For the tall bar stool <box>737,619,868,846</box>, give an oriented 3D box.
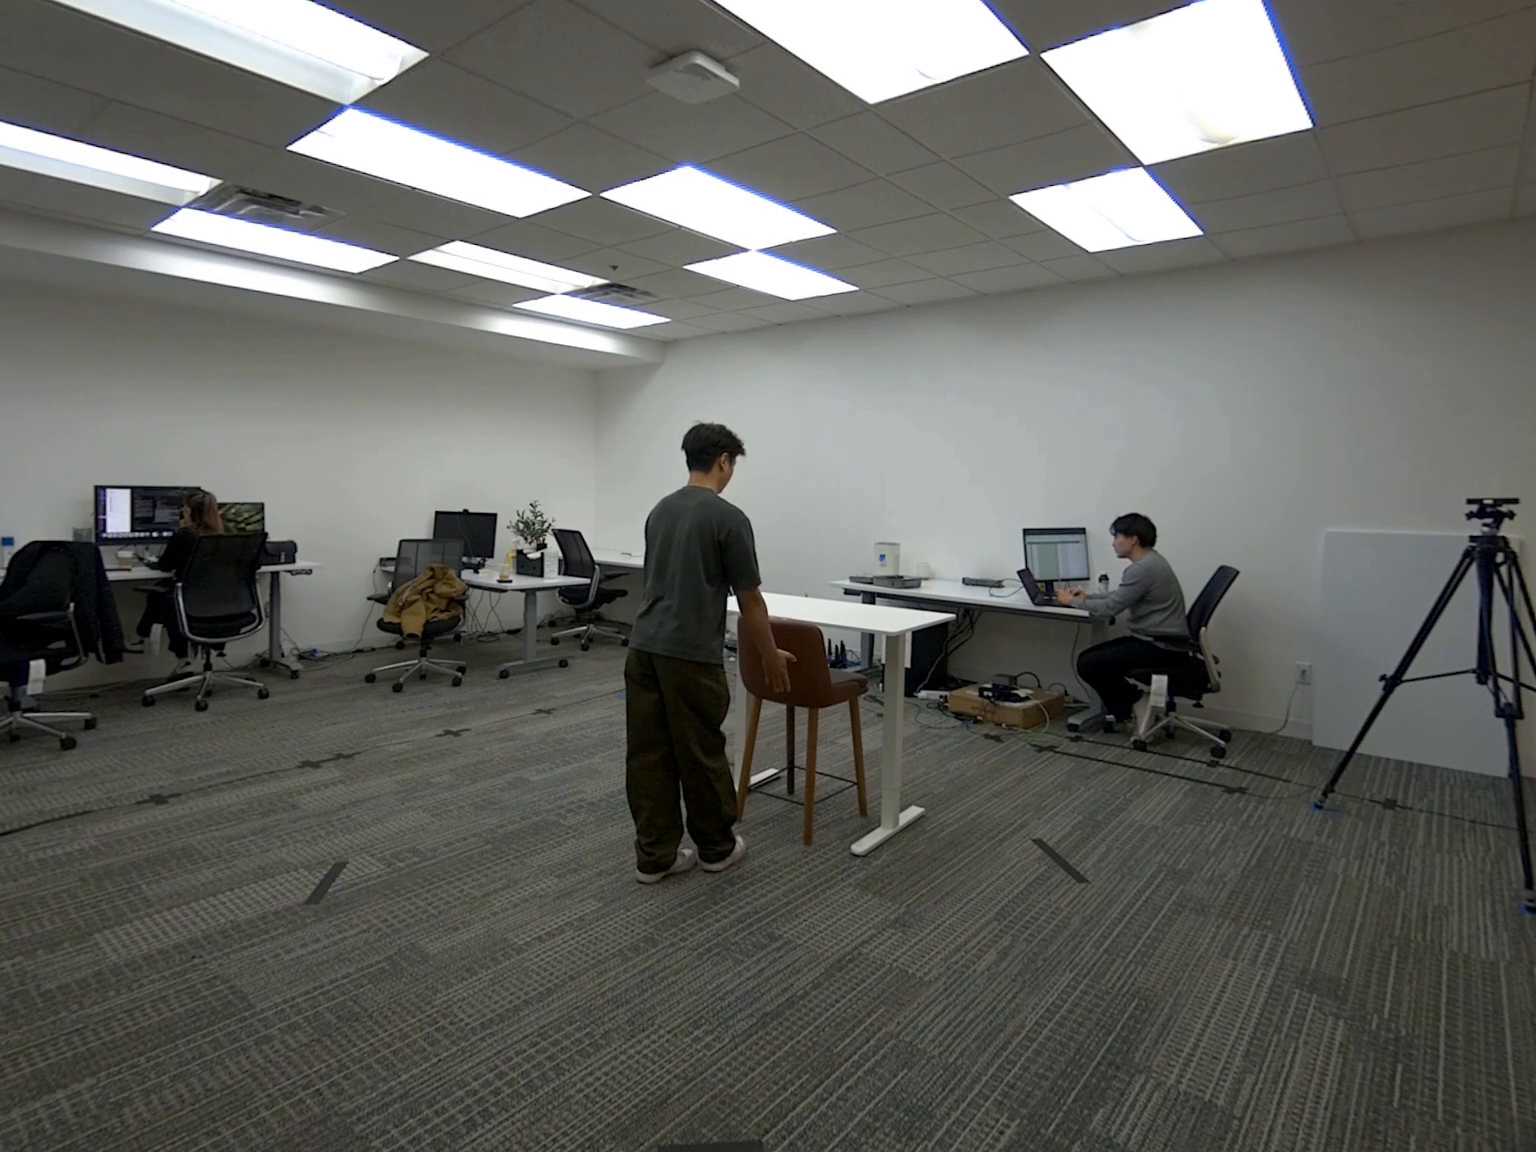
[{"bbox_3d":[0.129,0.589,3.586,0.471,0.886,0.455,3,6,37],"label":"tall bar stool"}]
